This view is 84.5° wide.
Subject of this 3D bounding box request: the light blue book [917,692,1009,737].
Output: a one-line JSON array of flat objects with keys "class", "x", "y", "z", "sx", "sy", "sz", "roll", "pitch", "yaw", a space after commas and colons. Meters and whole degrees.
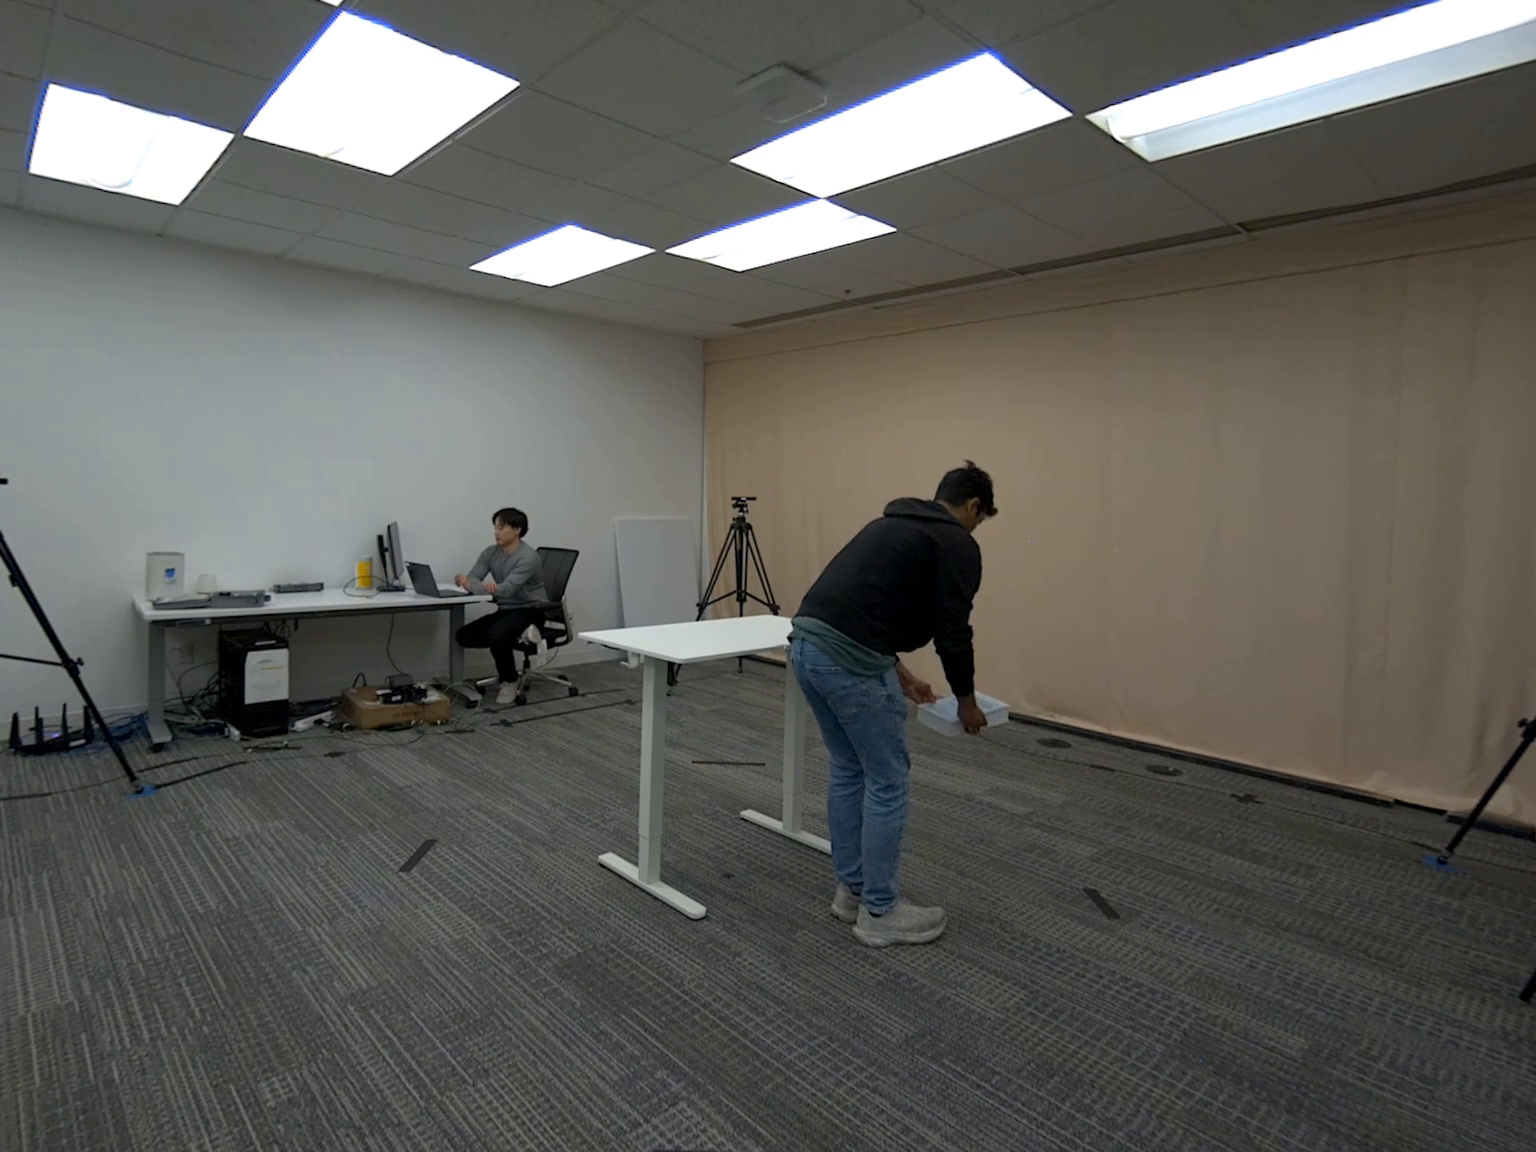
[{"class": "light blue book", "x": 0.676, "y": 0.477, "z": 2.942, "sx": 0.257, "sy": 0.058, "sz": 0.196, "roll": -9, "pitch": 13, "yaw": -26}]
